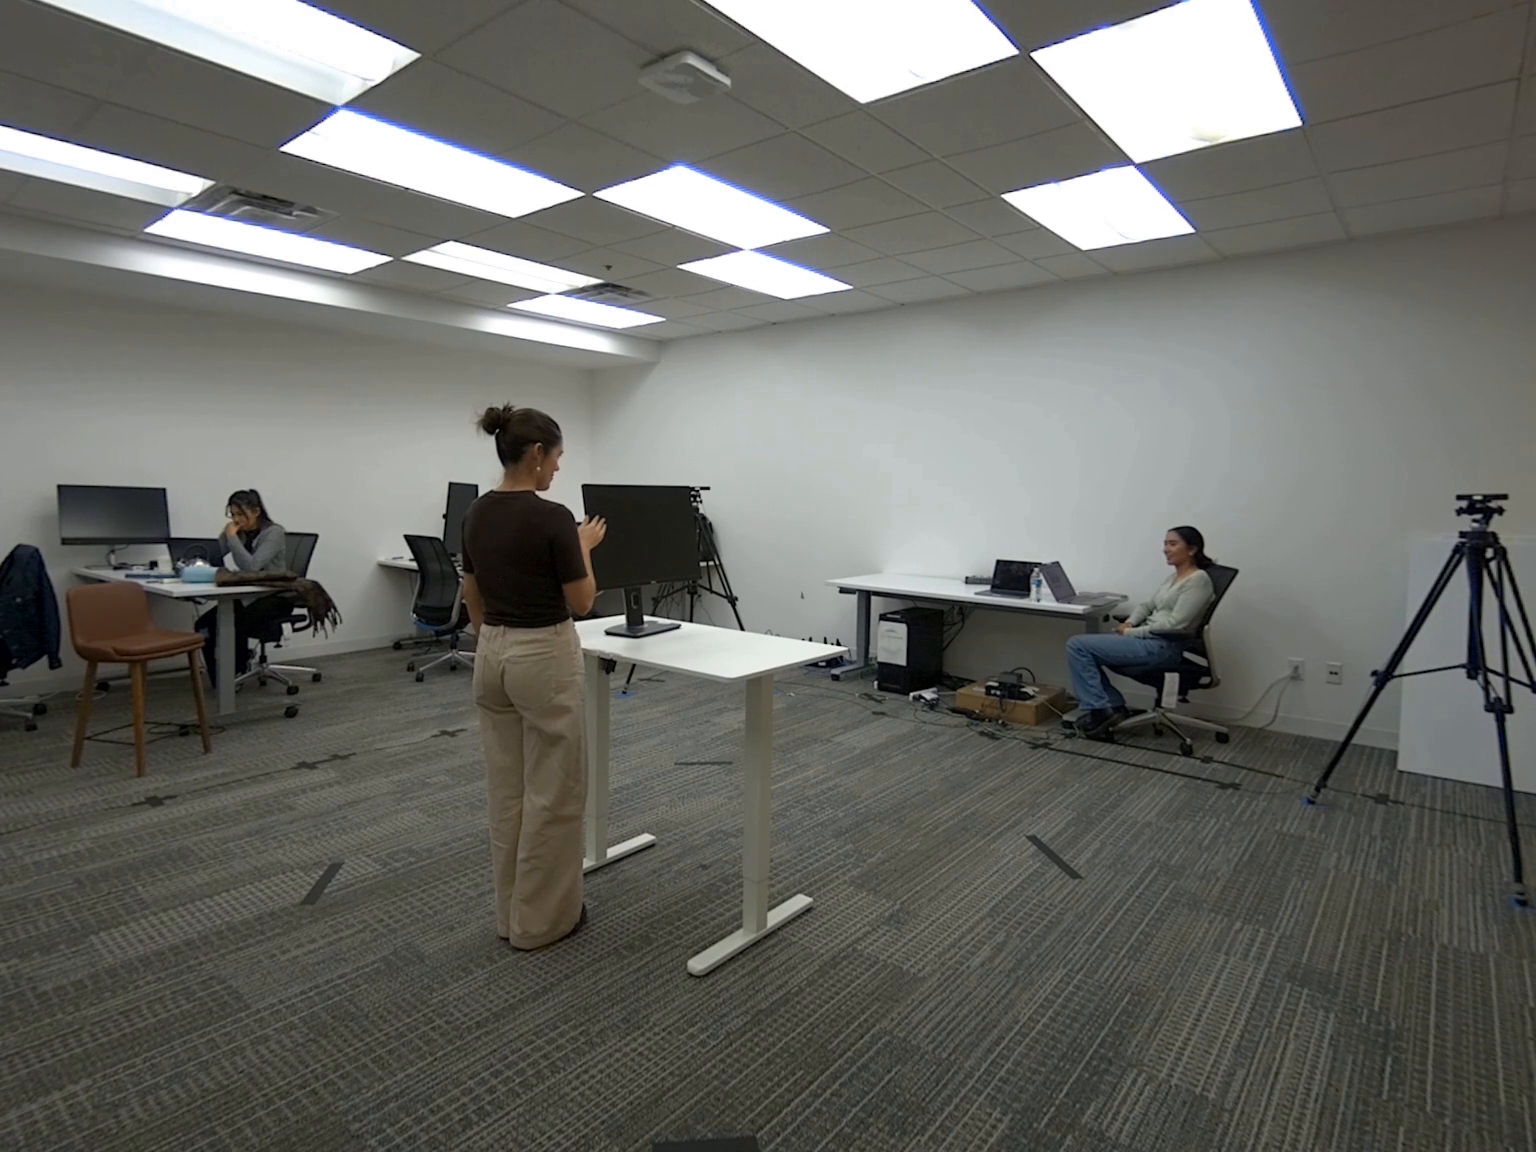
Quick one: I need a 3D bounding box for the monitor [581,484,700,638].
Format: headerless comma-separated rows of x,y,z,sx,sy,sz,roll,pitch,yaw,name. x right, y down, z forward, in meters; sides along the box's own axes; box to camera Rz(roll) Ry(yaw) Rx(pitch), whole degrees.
-0.459,-0.060,2.981,0.193,0.521,0.524,4,6,37,monitor
